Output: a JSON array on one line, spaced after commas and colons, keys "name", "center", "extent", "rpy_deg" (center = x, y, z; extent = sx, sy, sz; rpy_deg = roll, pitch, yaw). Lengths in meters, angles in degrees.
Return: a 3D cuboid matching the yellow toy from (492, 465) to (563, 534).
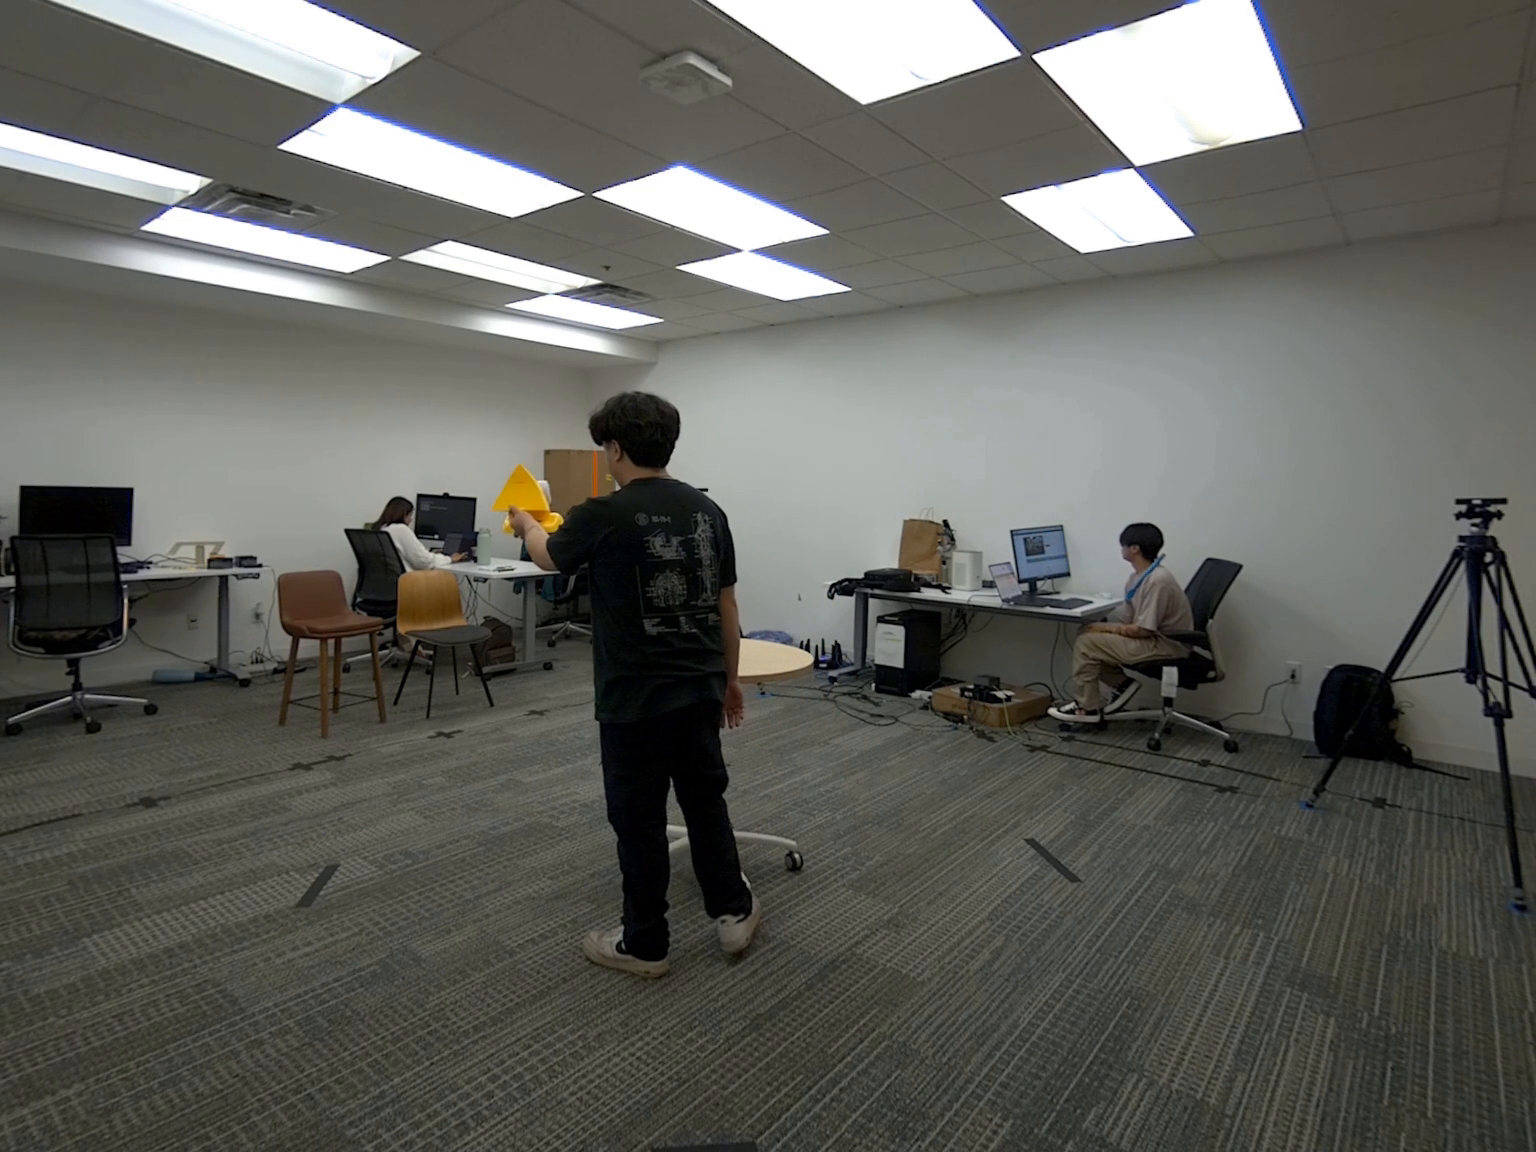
[{"name": "yellow toy", "center": [-0.806, -0.272, 2.848], "extent": [0.208, 0.229, 0.192], "rpy_deg": [0, 9, 14]}]
